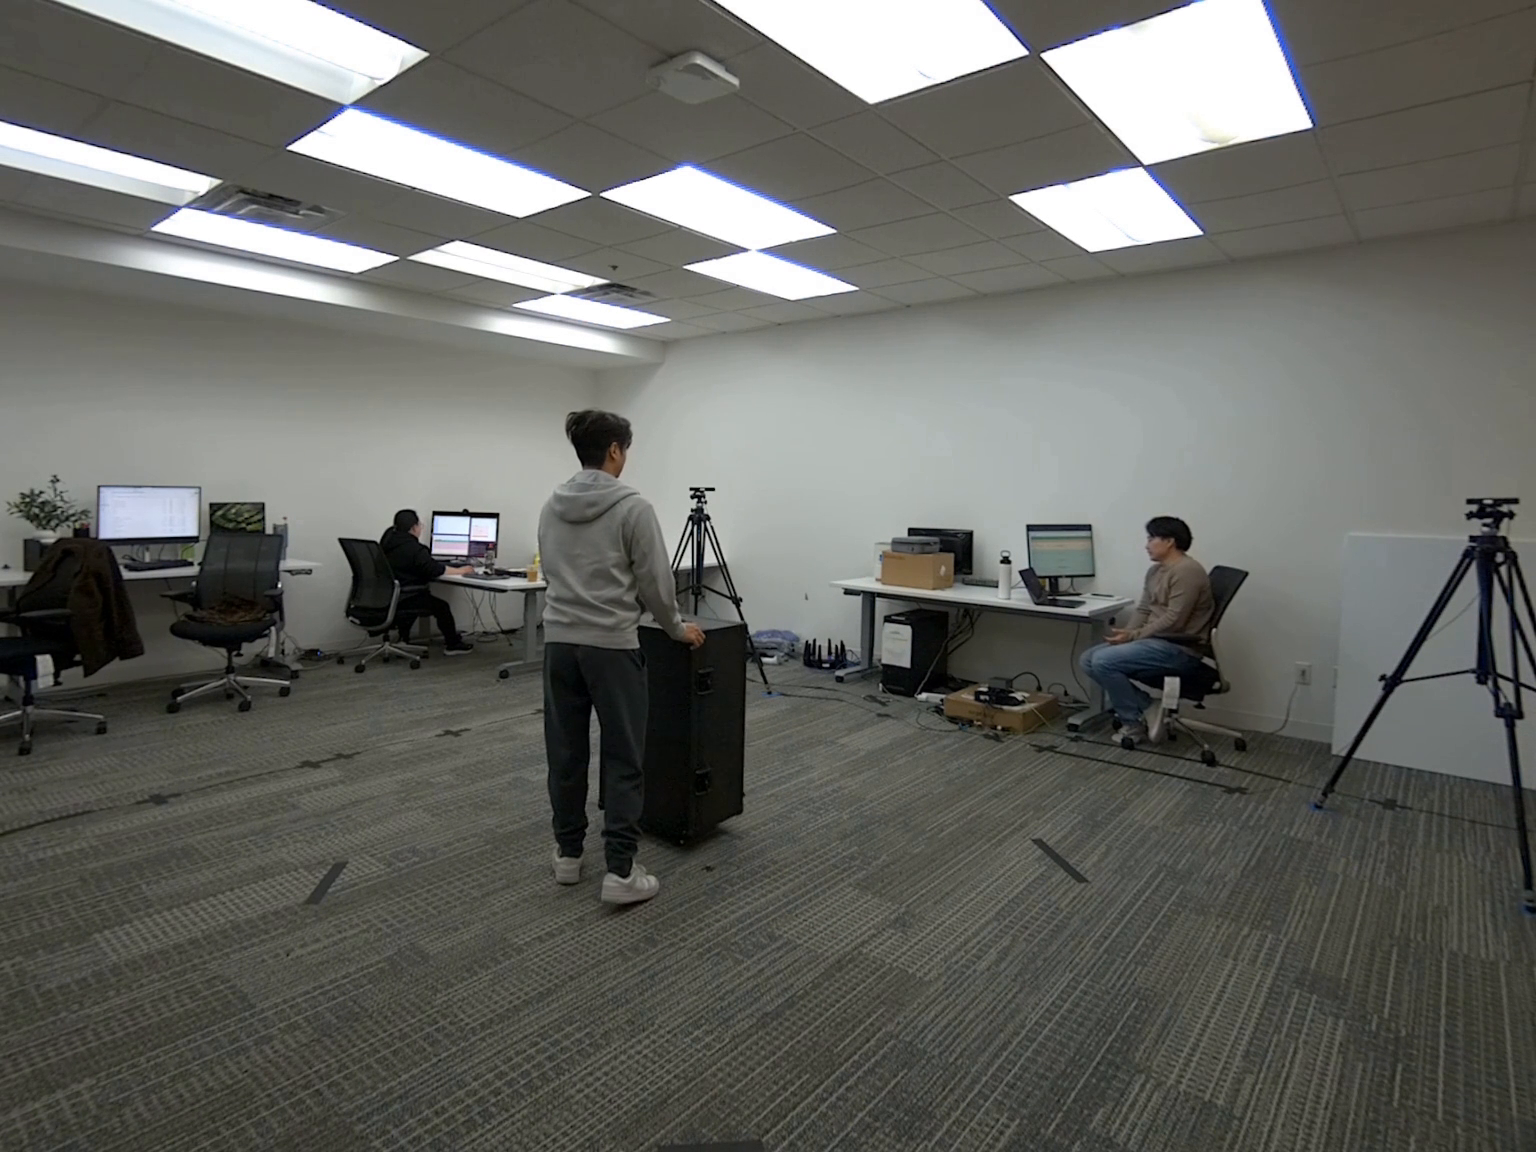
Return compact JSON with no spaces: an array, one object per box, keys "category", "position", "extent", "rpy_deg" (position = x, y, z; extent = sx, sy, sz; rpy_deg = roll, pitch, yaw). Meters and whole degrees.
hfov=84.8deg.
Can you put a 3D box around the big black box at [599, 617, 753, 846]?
[{"category":"big black box","position":[-0.391,0.605,3.478],"extent":[0.538,0.860,0.384],"rpy_deg":[3,3,37]}]
